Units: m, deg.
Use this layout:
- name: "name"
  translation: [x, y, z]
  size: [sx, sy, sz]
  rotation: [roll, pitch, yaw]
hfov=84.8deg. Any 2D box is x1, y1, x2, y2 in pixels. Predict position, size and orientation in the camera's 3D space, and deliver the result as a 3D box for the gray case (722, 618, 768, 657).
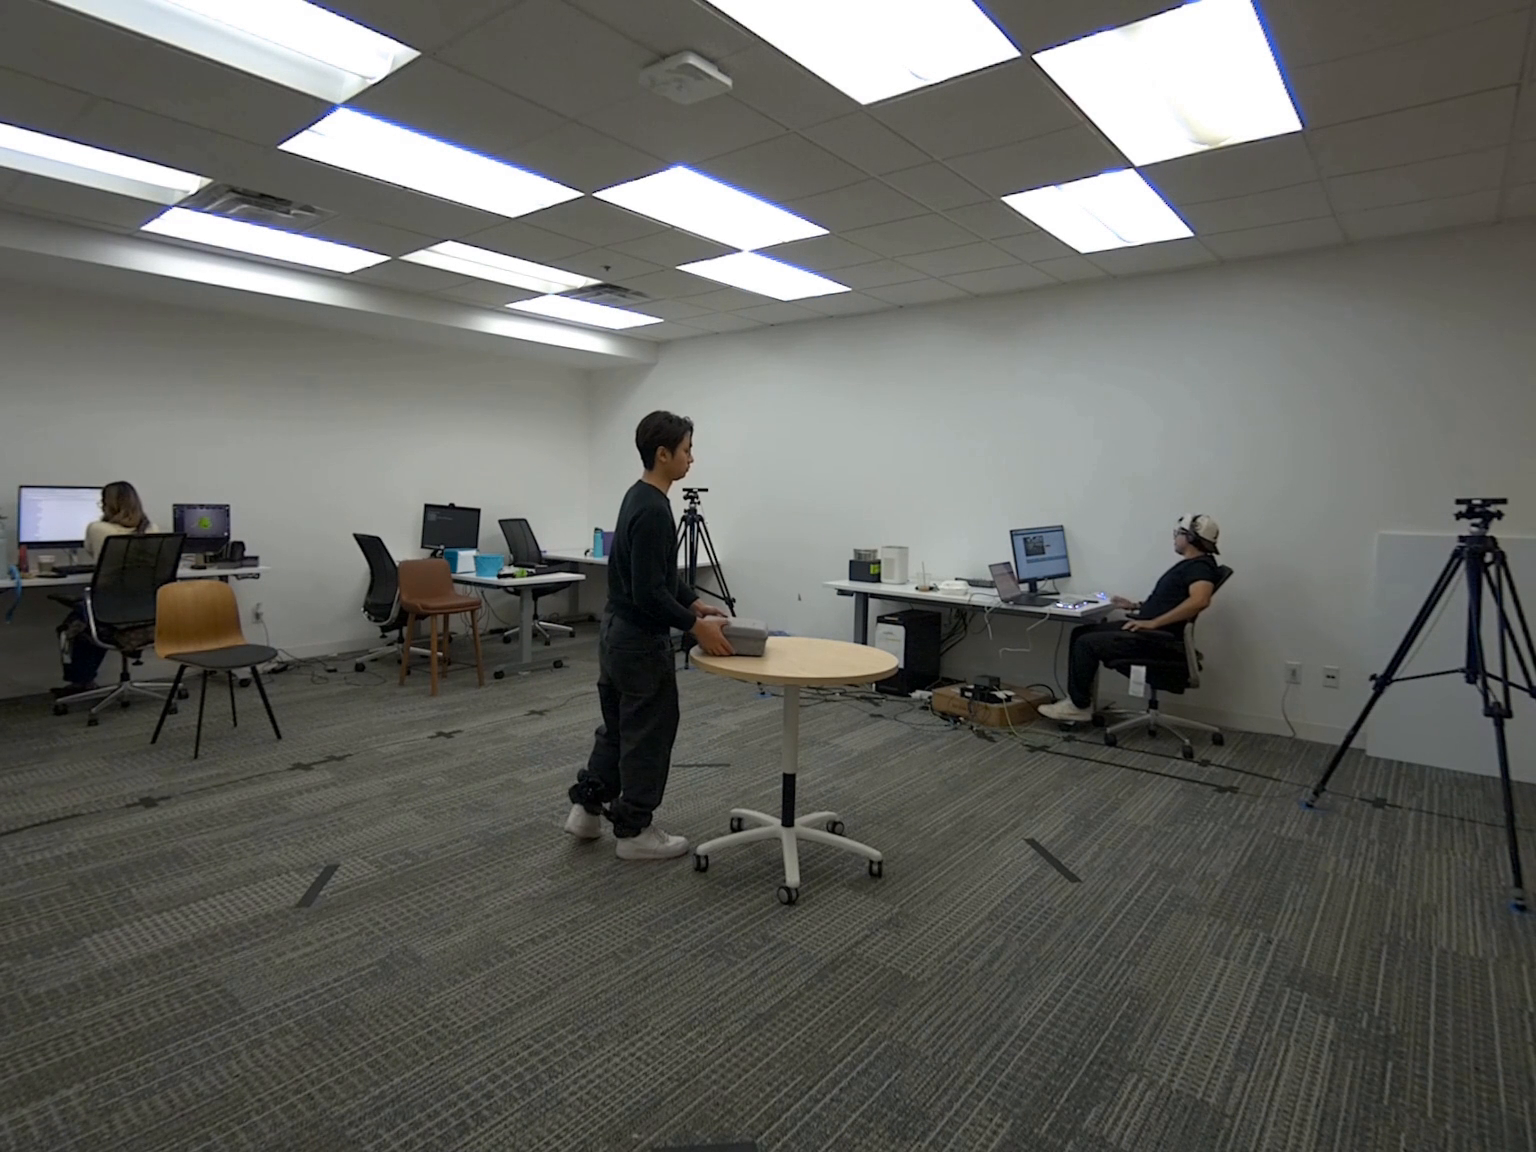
- name: "gray case"
  translation: [-0.142, 0.220, 3.188]
  size: [0.262, 0.104, 0.257]
  rotation: [4, 6, 2]
